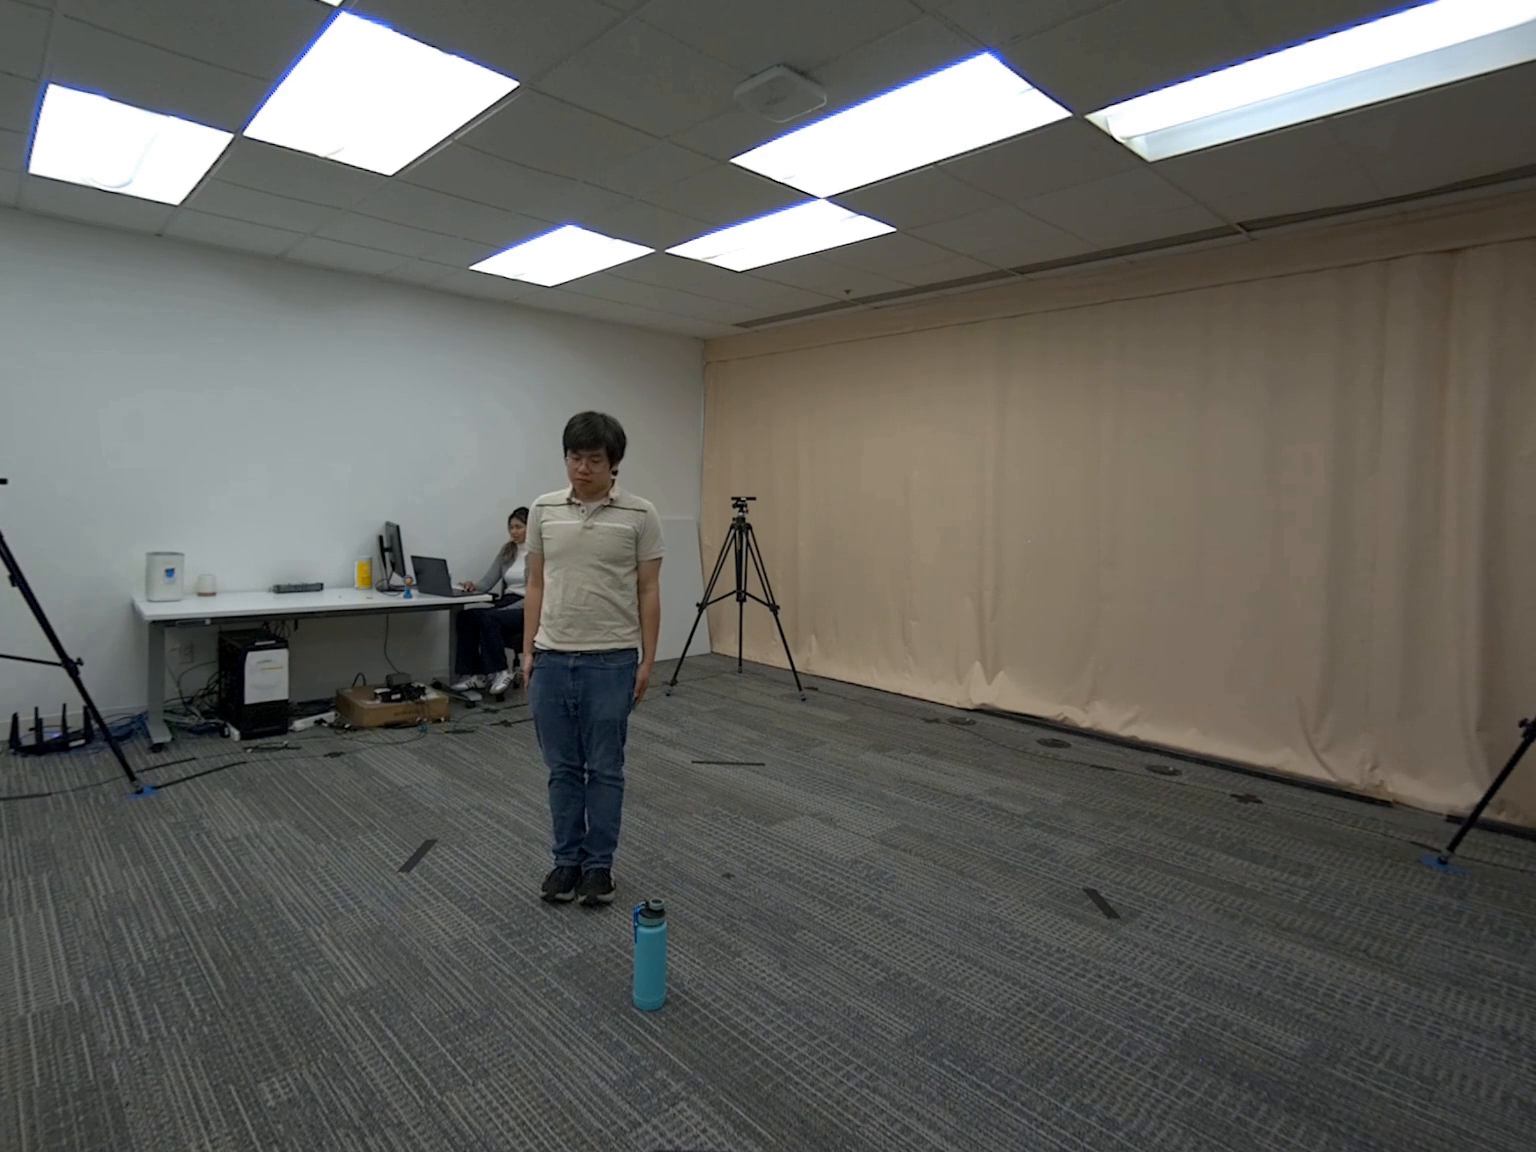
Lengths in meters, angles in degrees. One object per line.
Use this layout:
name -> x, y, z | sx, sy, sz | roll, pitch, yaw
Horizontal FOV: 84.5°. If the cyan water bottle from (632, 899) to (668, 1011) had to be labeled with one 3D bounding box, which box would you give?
cyan water bottle -> -0.335, 1.037, 2.304 | 0.092, 0.283, 0.092 | 1, 3, -1
